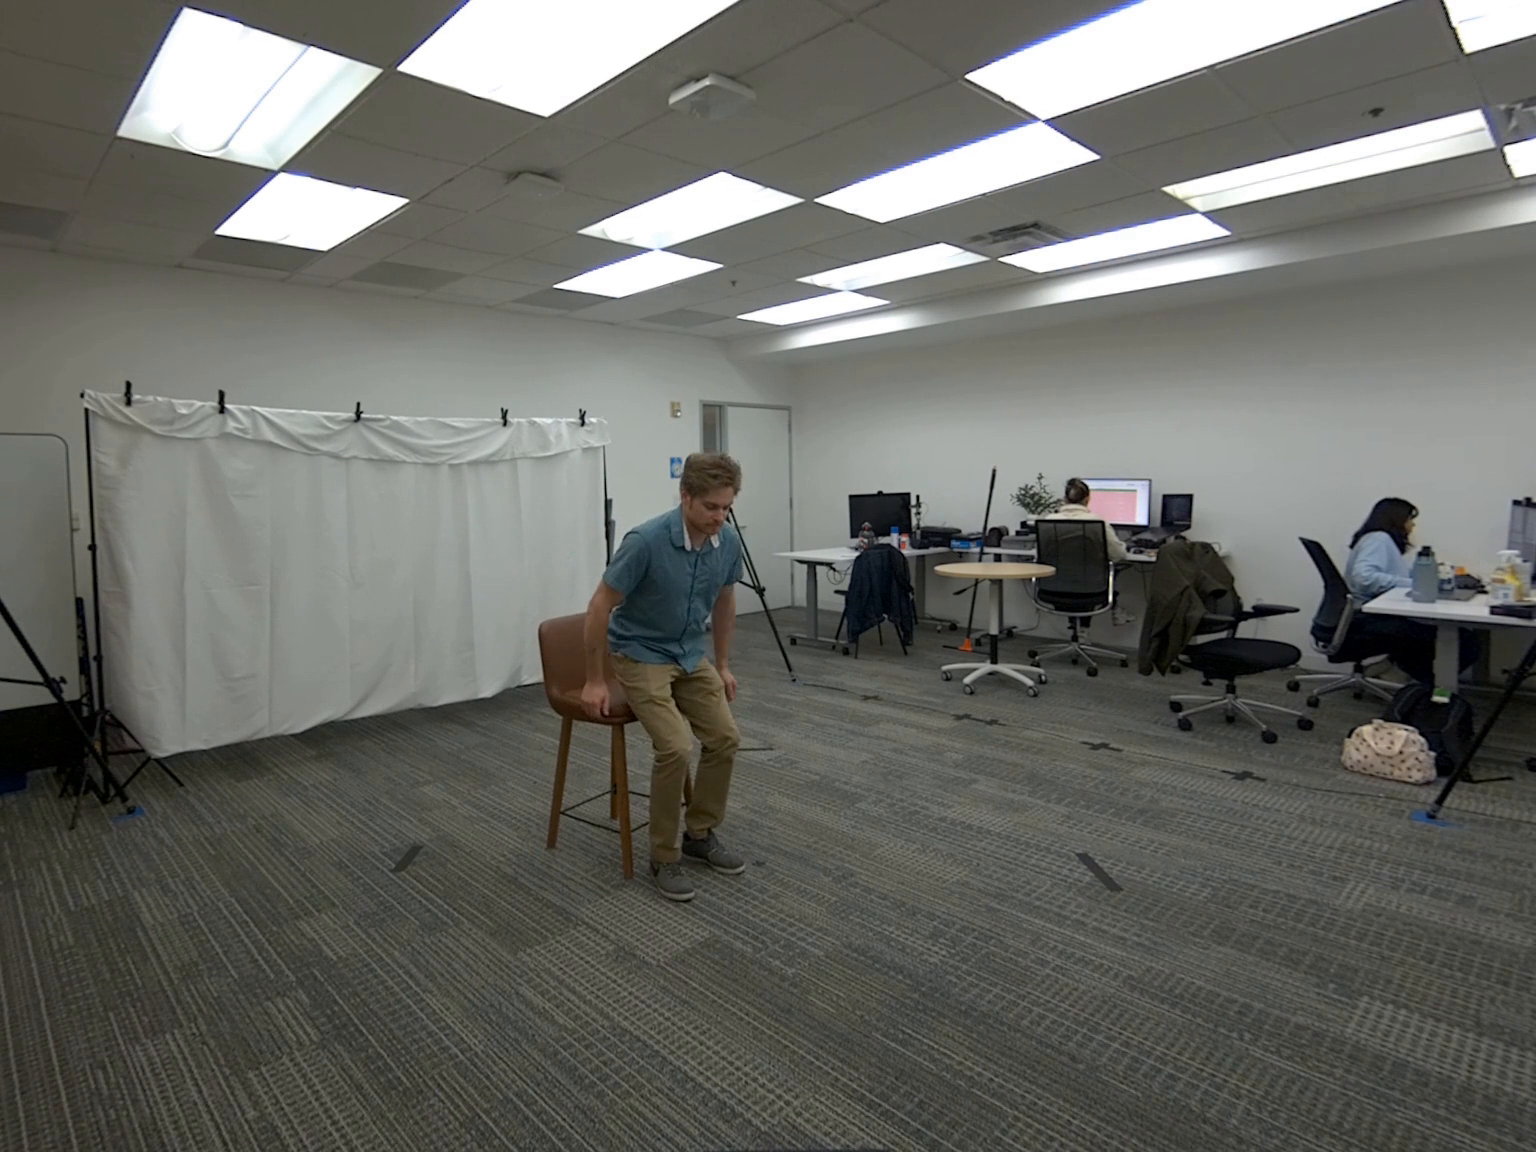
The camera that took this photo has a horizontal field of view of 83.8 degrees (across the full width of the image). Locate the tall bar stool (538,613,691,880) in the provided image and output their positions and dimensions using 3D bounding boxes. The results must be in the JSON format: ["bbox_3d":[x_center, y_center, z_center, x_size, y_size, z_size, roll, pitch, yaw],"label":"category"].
[{"bbox_3d":[-0.573,0.599,3.278,0.480,0.888,0.445,-1,3,36],"label":"tall bar stool"}]
